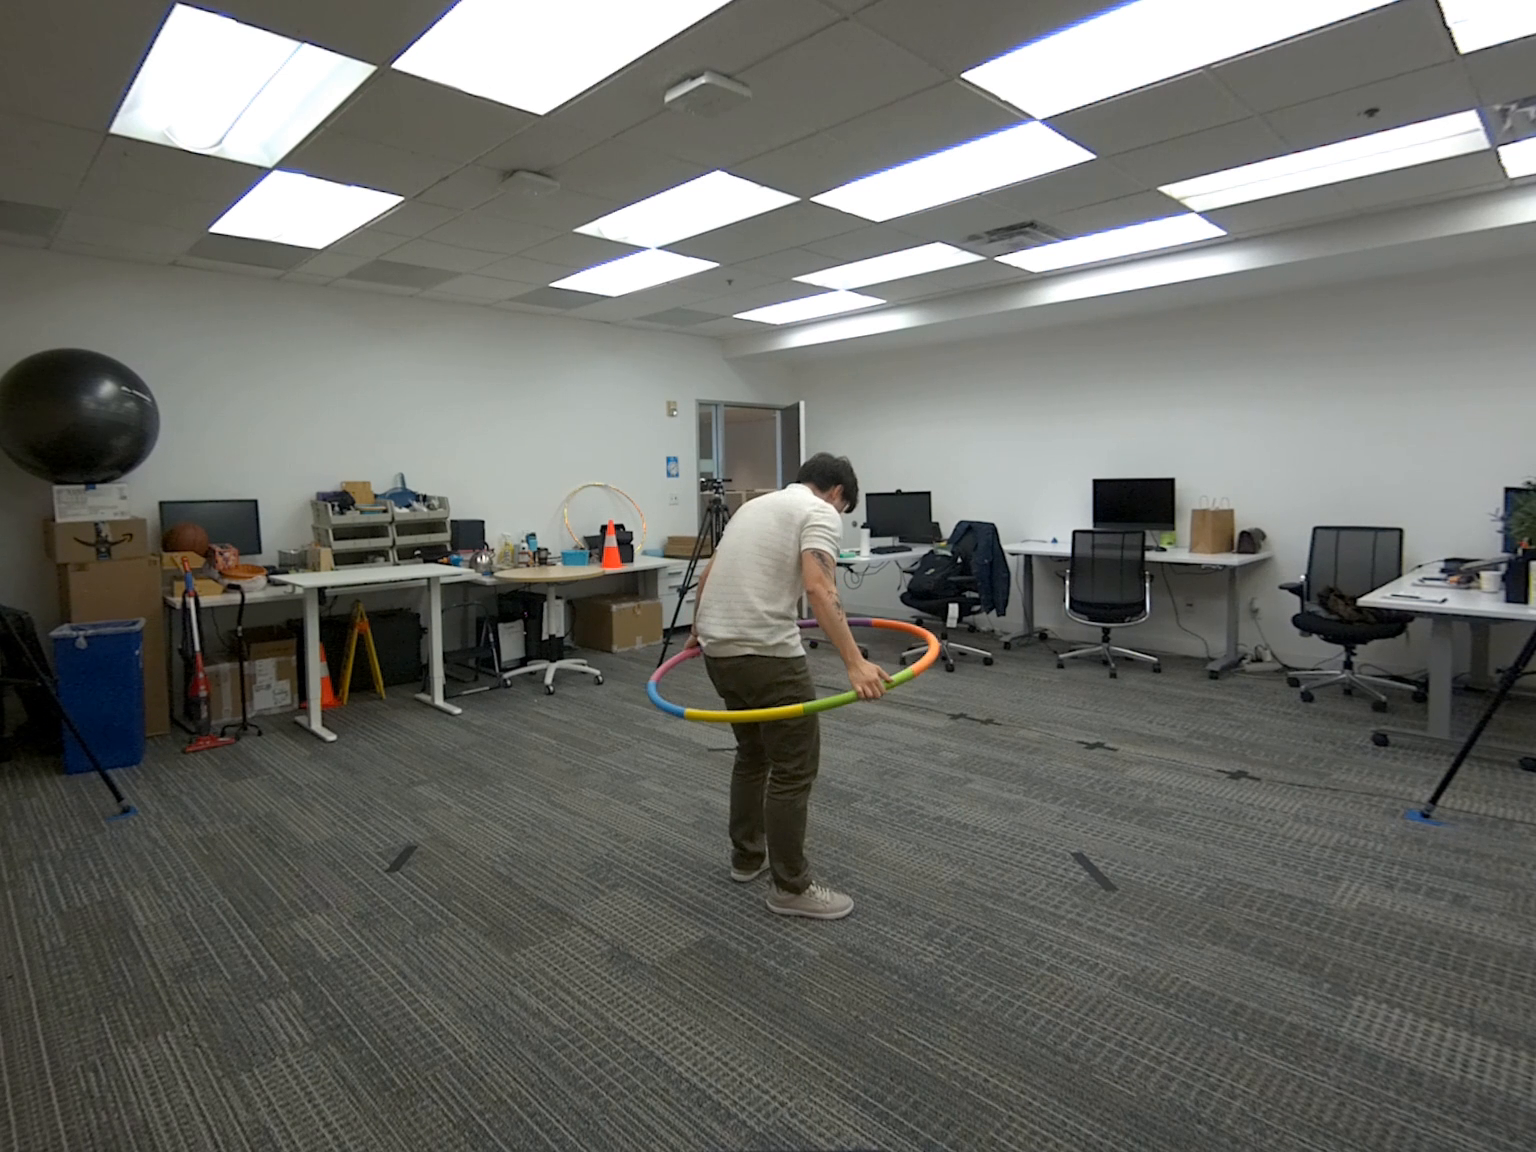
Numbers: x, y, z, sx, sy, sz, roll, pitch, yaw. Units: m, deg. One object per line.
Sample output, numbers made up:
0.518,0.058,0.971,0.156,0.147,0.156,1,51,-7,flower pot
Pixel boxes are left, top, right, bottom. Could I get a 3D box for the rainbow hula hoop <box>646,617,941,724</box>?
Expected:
0.074,0.295,2.898,0.979,0.035,0.988,-9,11,0,rainbow hula hoop
